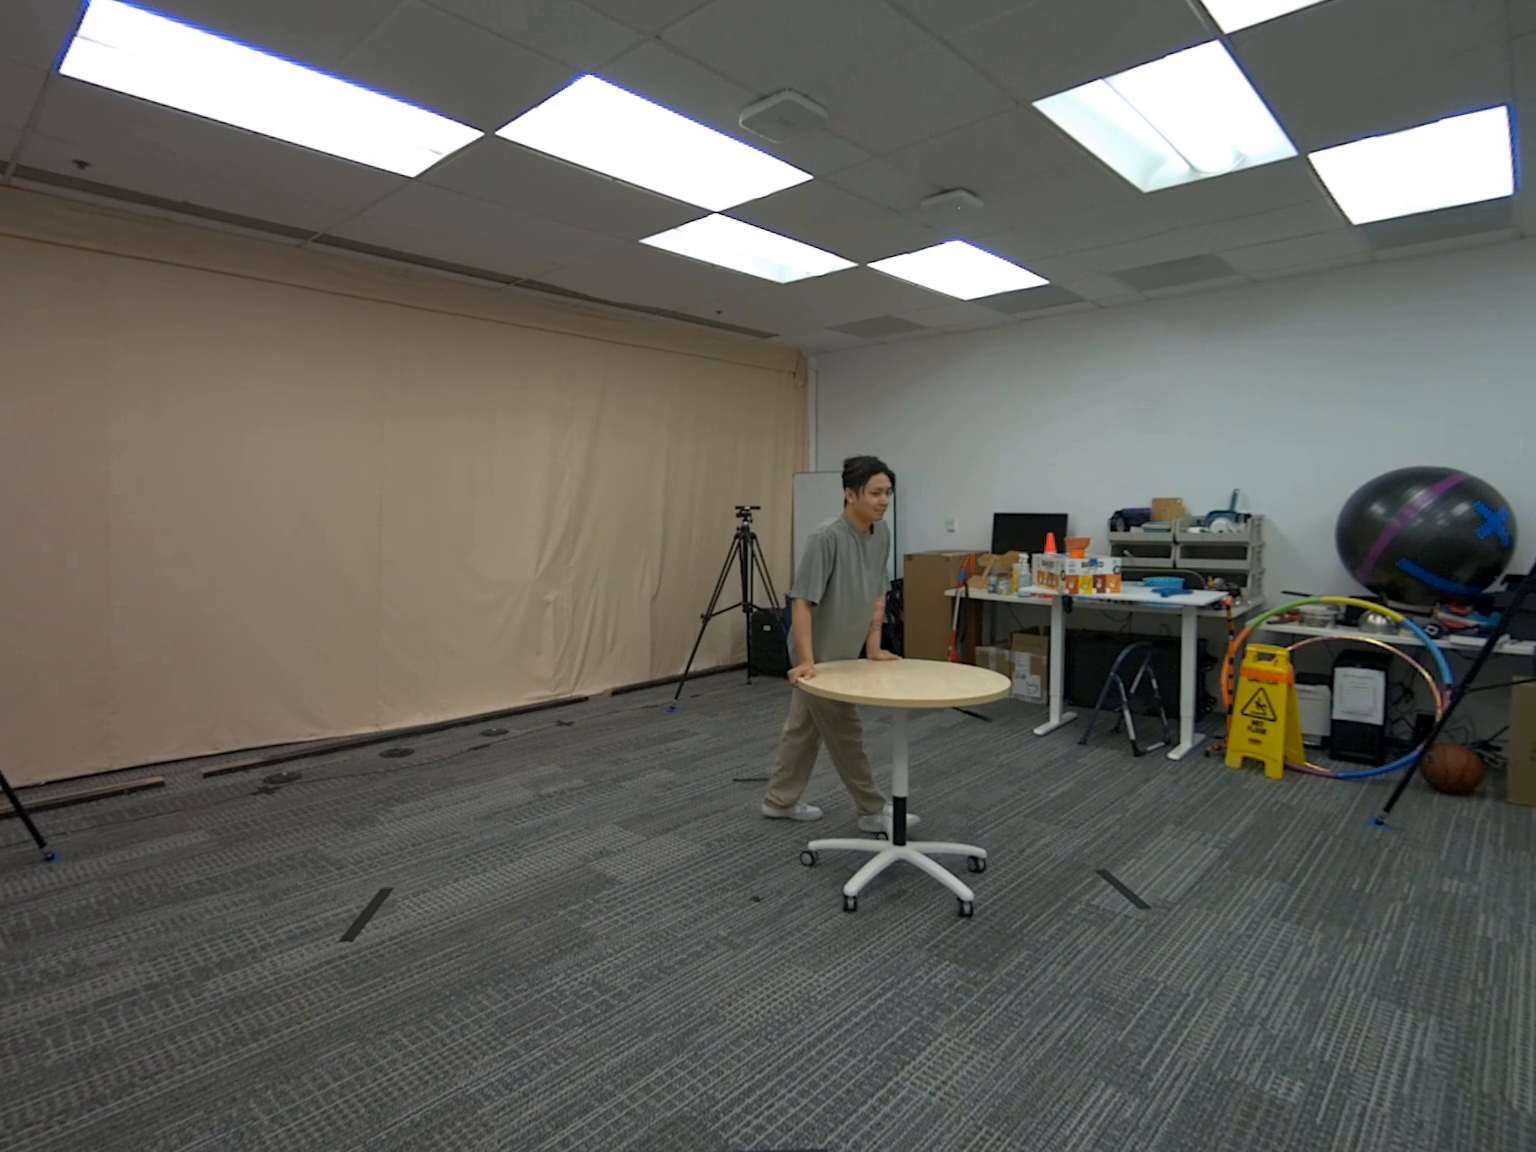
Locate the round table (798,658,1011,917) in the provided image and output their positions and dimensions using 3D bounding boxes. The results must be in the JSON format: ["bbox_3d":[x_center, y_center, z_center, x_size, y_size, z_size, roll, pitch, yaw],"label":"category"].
[{"bbox_3d":[0.470,0.746,3.097,0.784,0.785,0.787,0,3,-2],"label":"round table"}]
